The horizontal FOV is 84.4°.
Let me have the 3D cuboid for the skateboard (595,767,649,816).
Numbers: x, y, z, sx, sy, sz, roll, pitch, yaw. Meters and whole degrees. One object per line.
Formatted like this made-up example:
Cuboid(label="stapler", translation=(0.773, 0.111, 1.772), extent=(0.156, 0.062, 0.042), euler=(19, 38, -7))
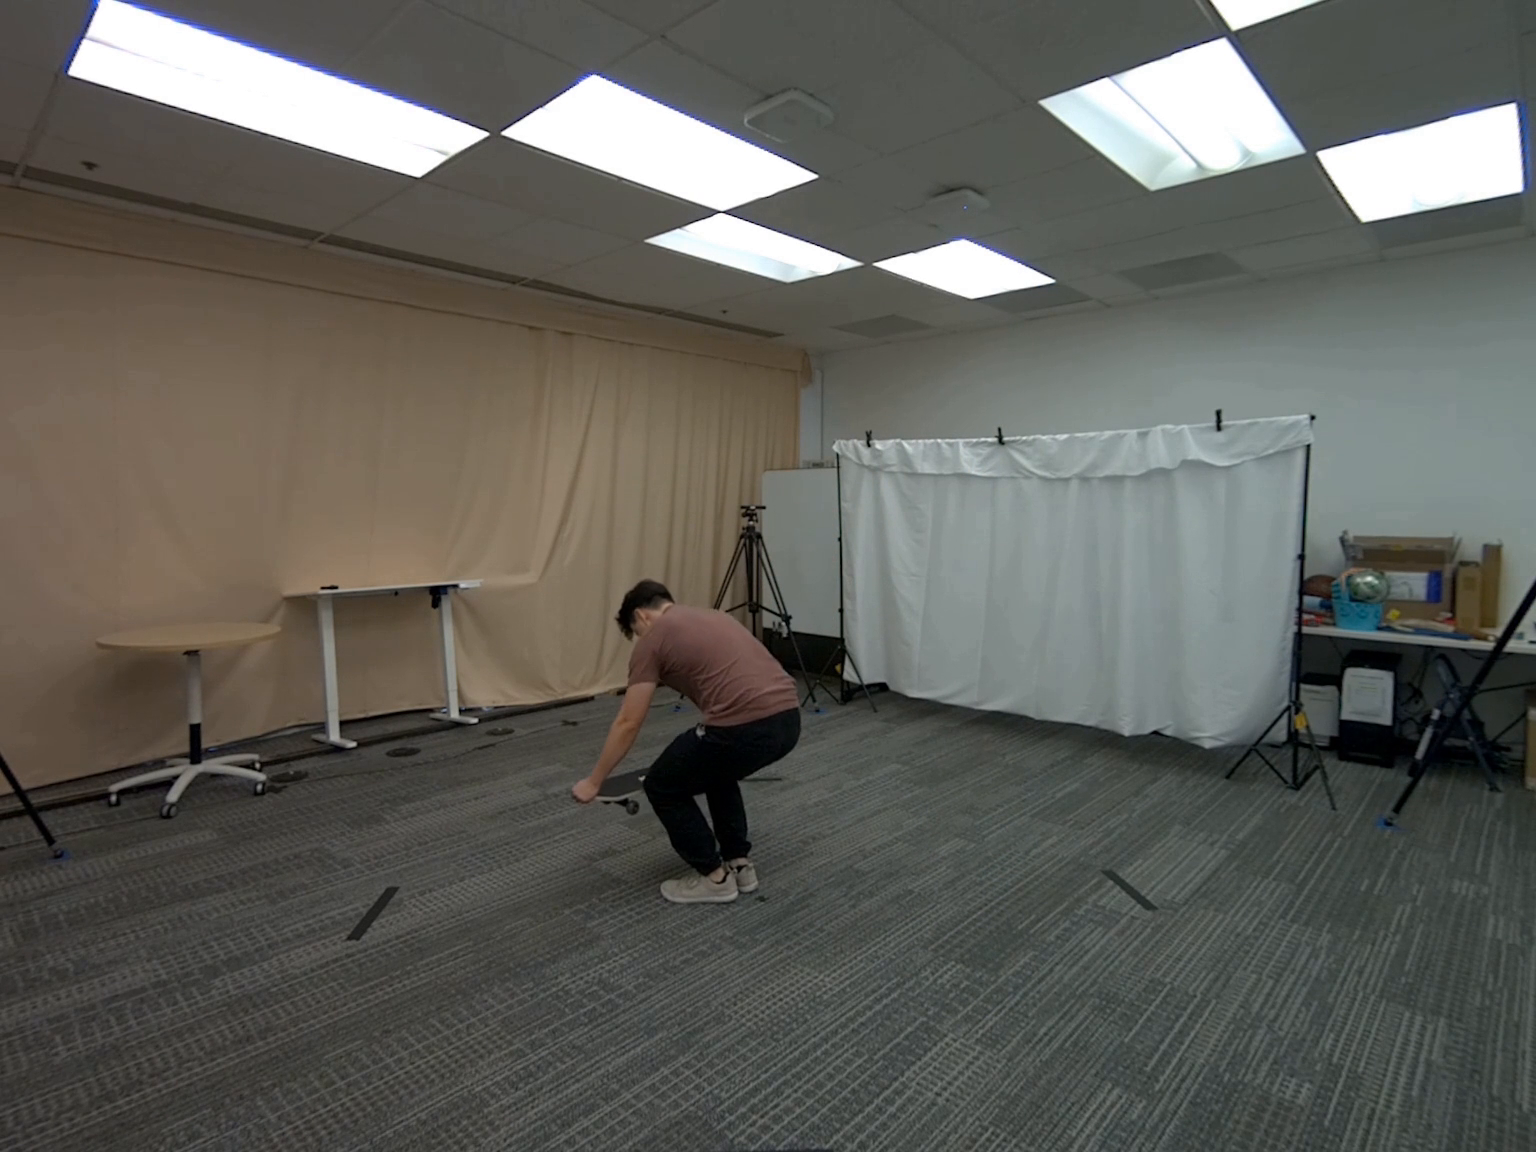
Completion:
Cuboid(label="skateboard", translation=(-0.431, 0.815, 3.277), extent=(0.200, 0.110, 0.761), euler=(2, 4, 43))
